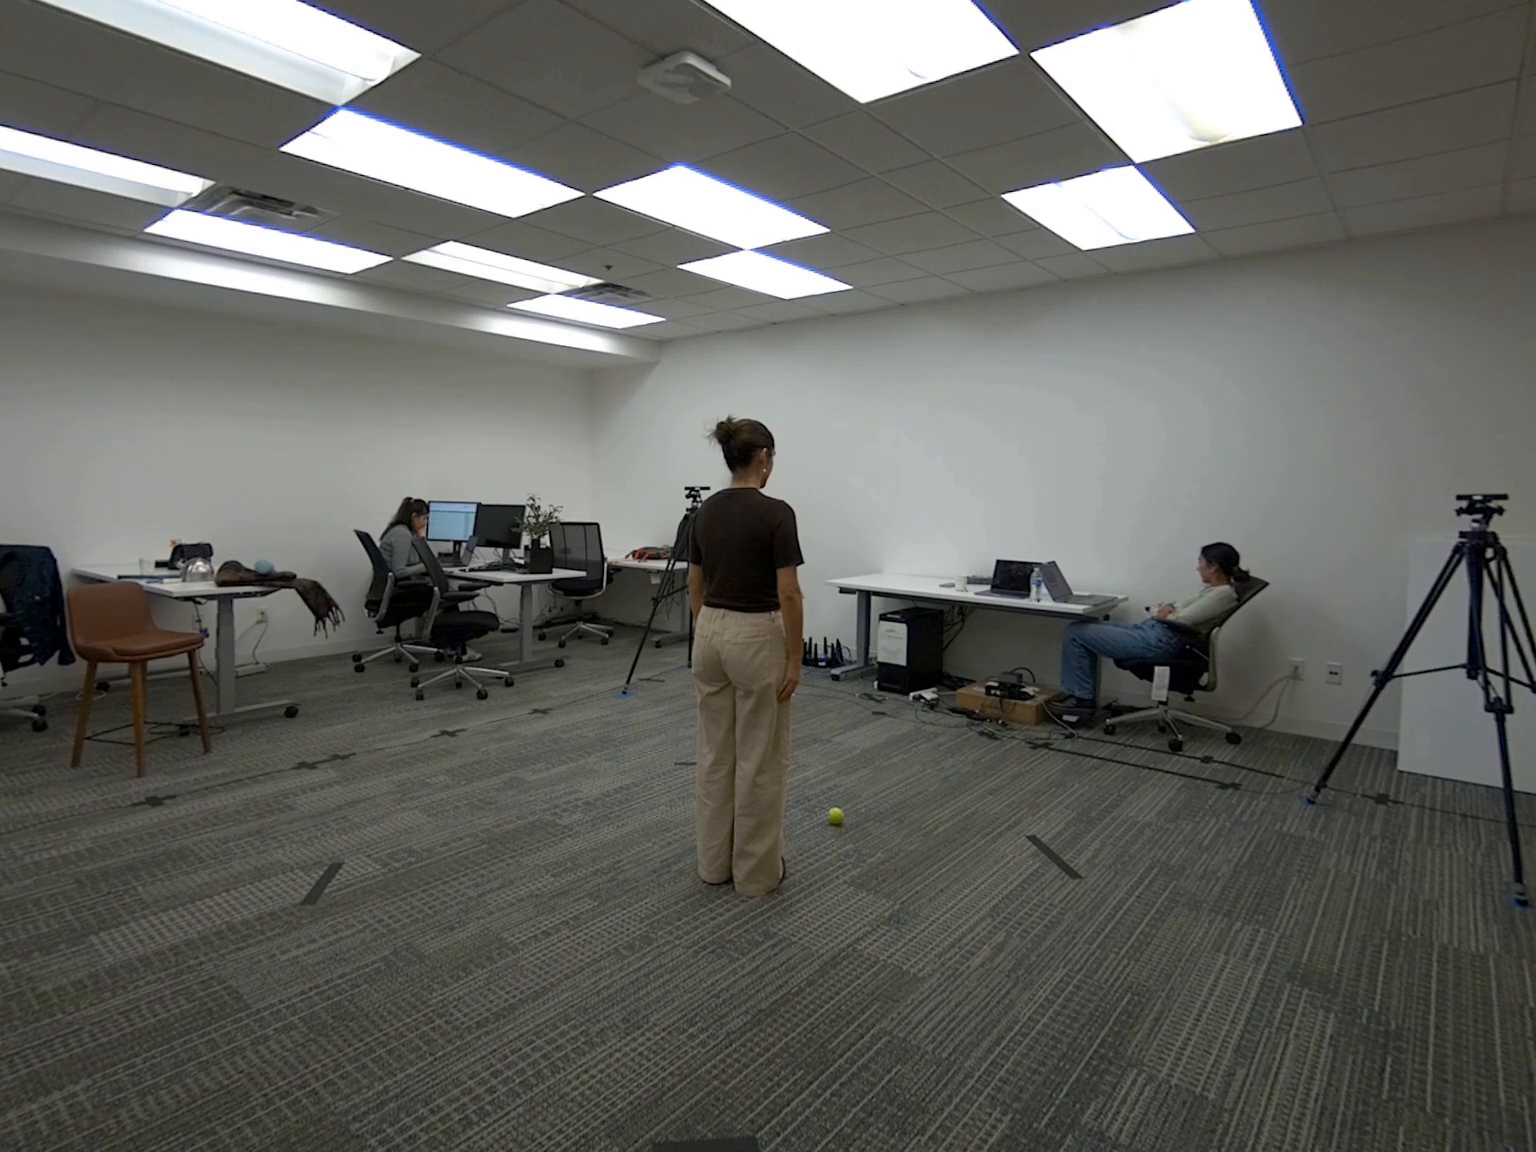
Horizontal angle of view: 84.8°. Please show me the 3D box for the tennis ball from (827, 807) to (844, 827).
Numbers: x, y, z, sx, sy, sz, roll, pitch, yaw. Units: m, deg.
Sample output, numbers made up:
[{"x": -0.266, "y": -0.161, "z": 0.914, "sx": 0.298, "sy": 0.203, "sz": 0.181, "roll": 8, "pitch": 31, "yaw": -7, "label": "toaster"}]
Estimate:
[{"x": 0.276, "y": 0.980, "z": 3.541, "sx": 0.066, "sy": 0.066, "sz": 0.067, "roll": 1, "pitch": 4, "yaw": -2, "label": "tennis ball"}]
